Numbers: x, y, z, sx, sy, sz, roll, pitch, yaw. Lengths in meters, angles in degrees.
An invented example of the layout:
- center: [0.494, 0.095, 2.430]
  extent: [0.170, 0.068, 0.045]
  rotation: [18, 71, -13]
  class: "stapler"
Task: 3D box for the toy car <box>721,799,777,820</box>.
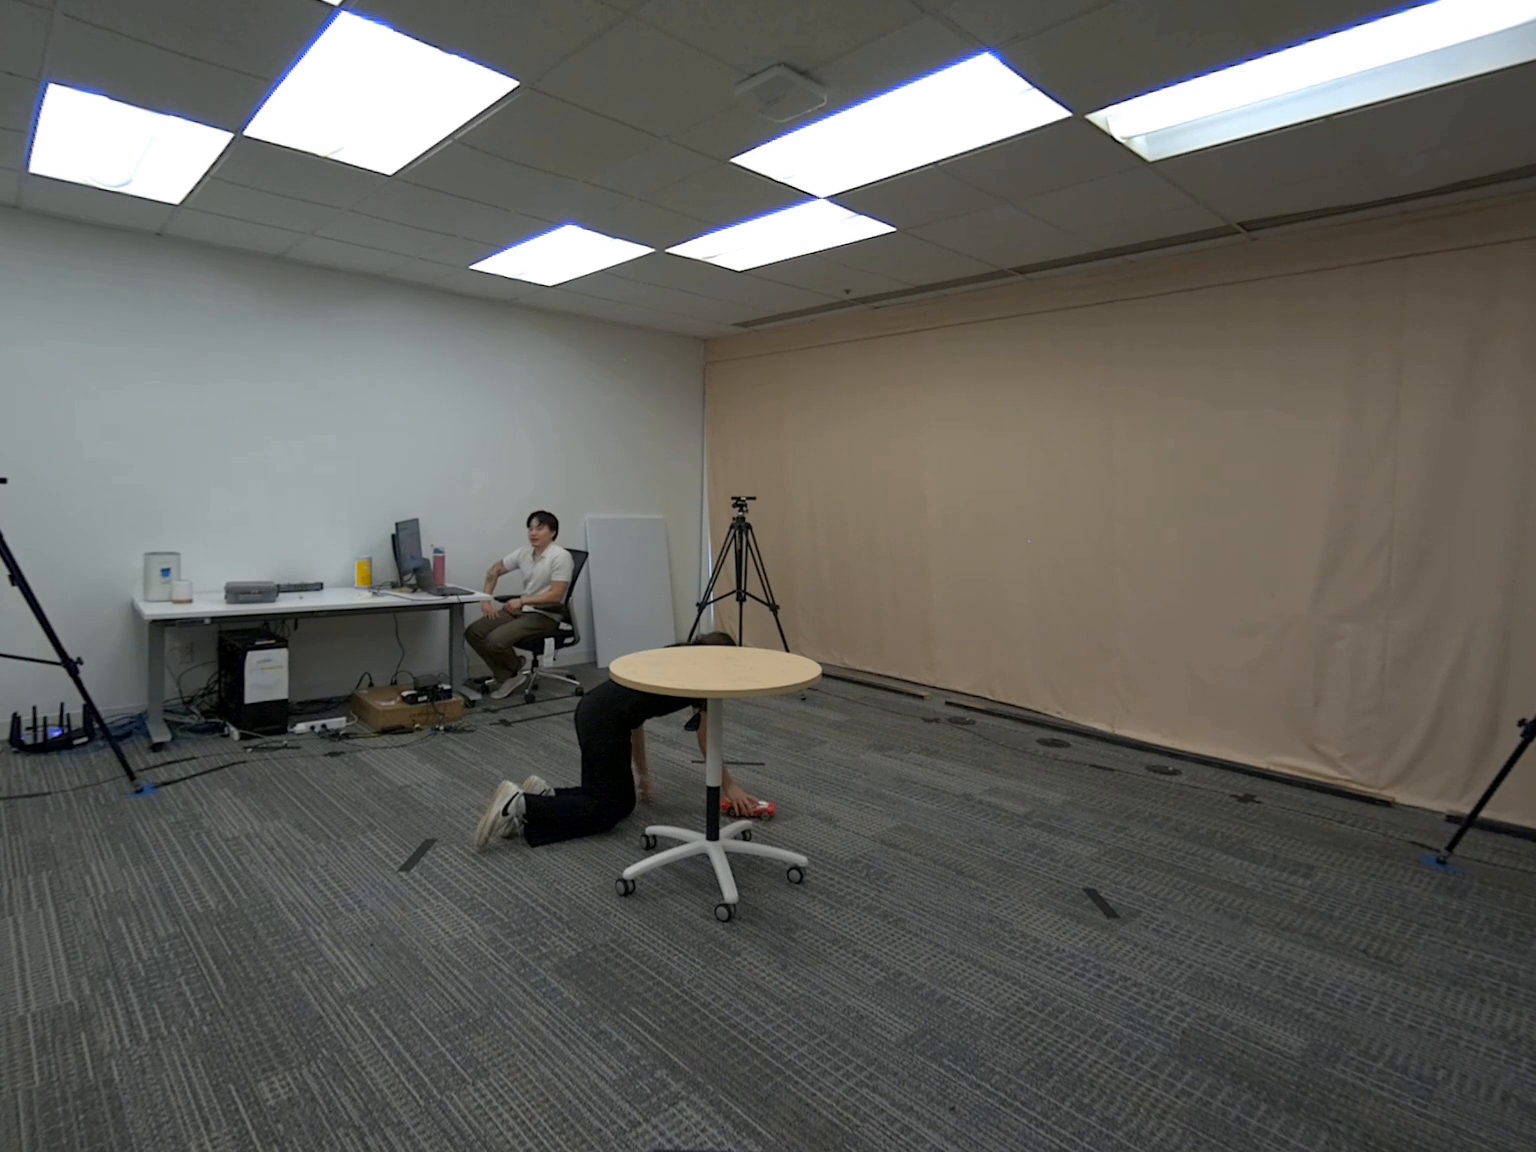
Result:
- center: [-0.106, 1.023, 3.724]
  extent: [0.257, 0.083, 0.129]
  rotation: [14, 7, 9]
  class: "toy car"
